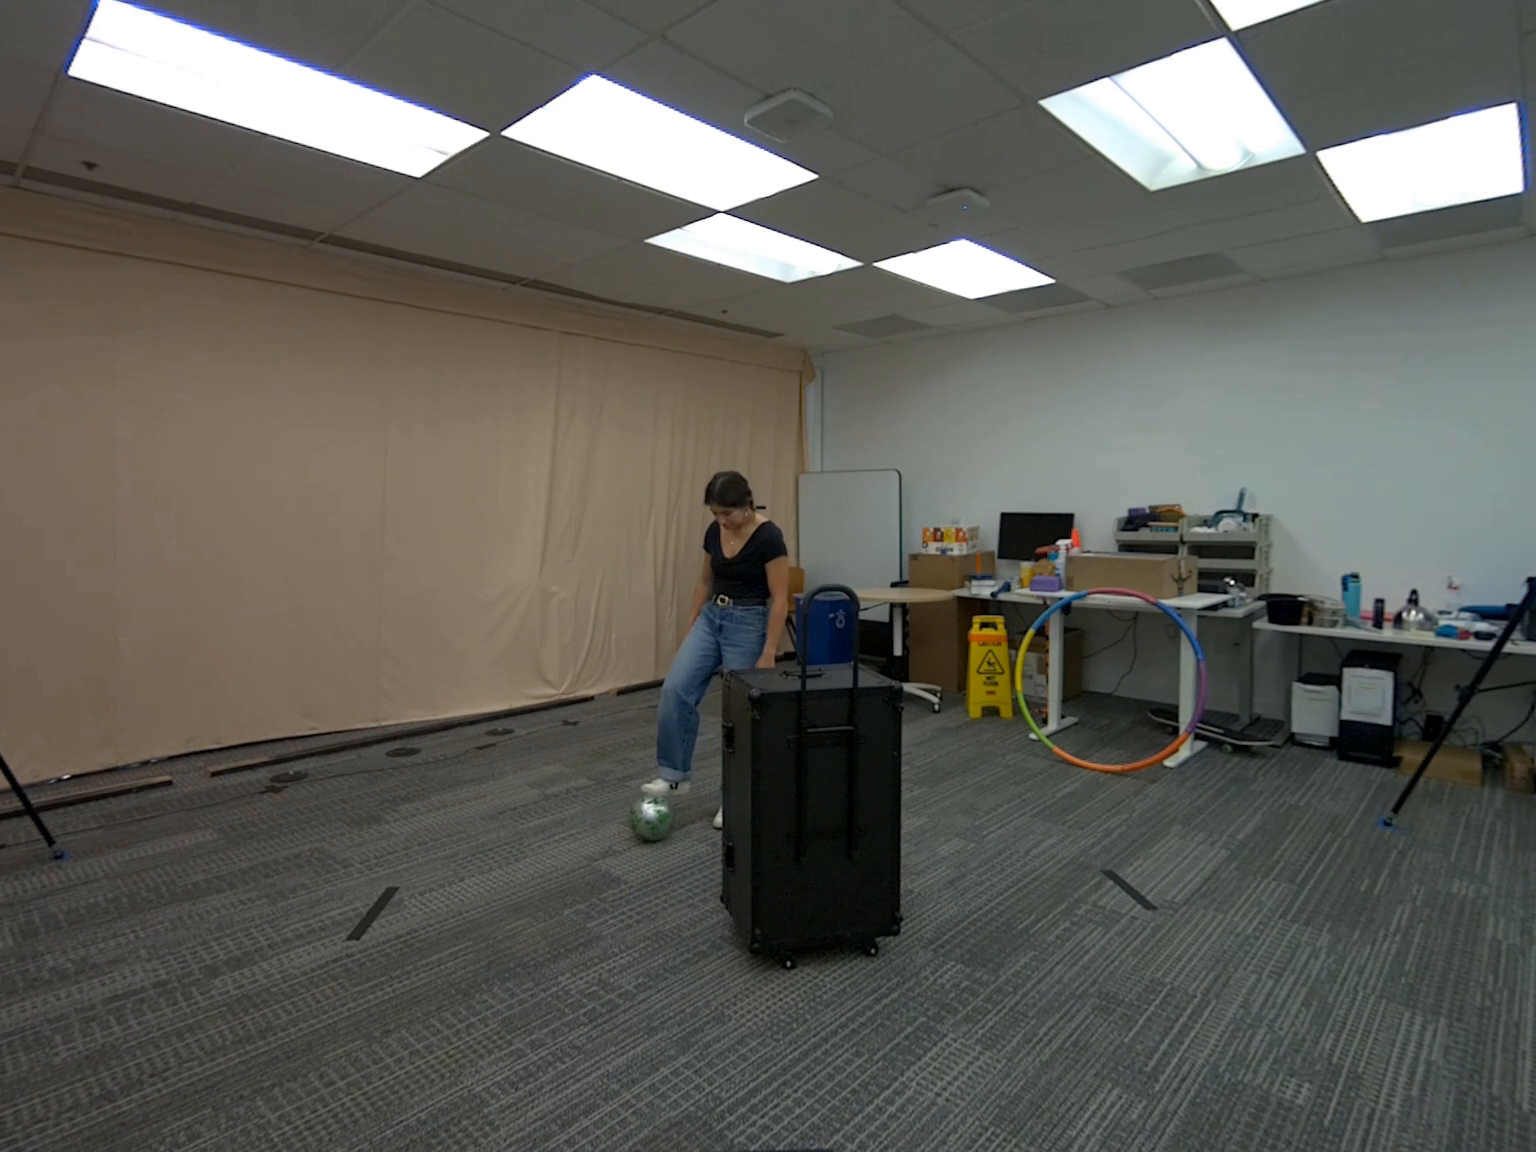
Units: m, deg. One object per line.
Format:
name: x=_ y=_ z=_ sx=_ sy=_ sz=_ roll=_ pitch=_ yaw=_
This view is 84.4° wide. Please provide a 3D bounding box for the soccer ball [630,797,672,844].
soccer ball: x=-0.487 y=1.006 z=3.519 sx=0.187 sy=0.187 sz=0.188 roll=0 pitch=4 yaw=-2
